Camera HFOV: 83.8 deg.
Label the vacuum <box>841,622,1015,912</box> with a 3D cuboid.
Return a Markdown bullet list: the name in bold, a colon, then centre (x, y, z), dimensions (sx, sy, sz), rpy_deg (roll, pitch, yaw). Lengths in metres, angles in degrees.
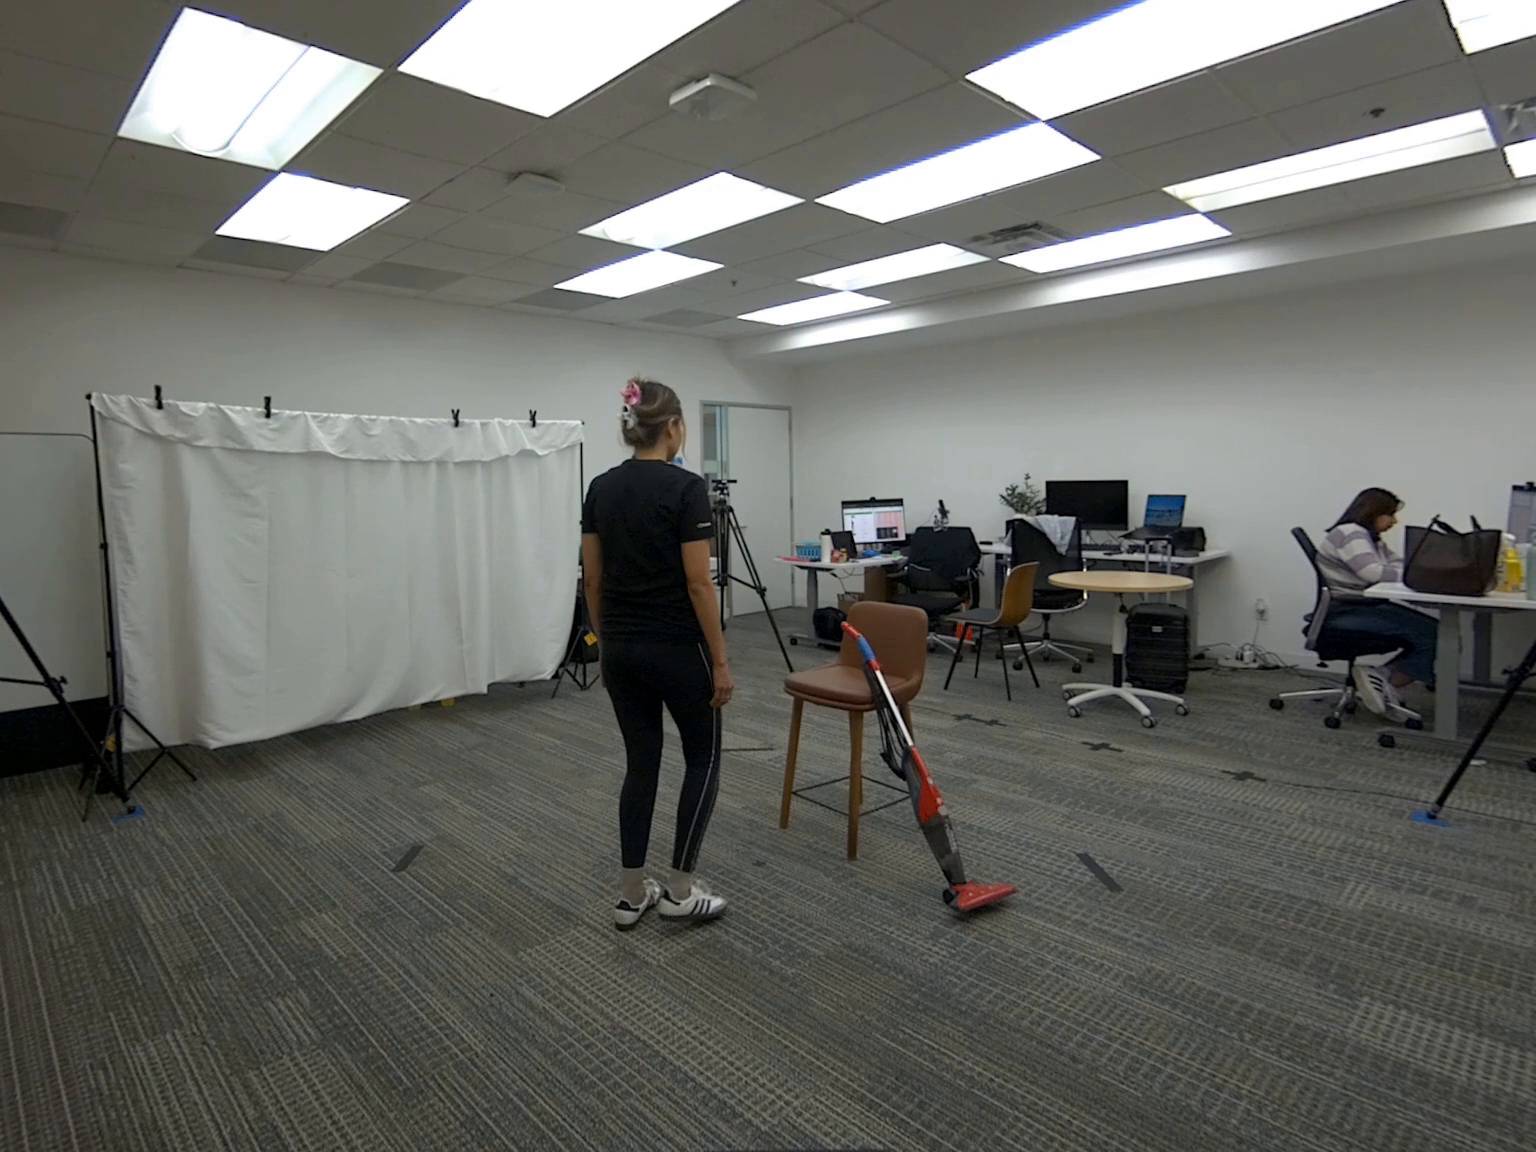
- **vacuum**: centre (0.495, 0.627, 3.022), dimensions (0.245, 1.083, 0.143), rpy_deg (1, -37, -37)
